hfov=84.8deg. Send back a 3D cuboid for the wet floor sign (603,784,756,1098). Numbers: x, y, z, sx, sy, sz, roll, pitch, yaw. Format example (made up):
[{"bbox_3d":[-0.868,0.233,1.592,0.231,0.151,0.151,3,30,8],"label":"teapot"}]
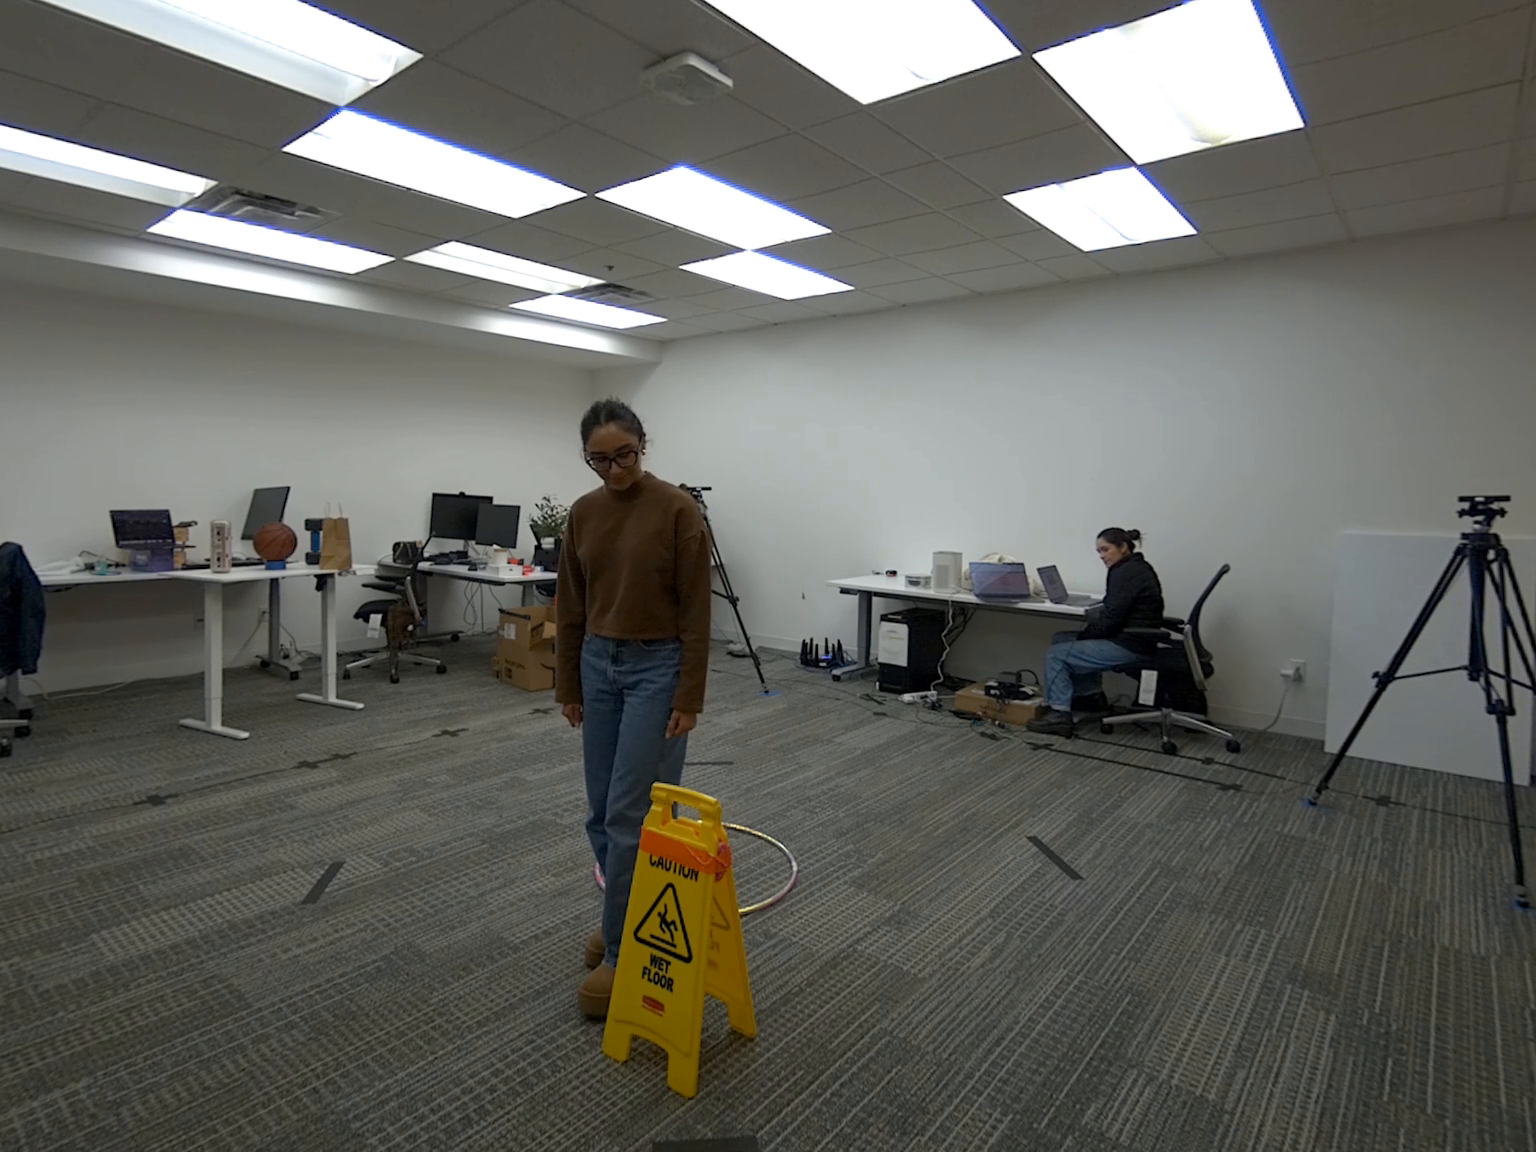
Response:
[{"bbox_3d":[-0.214,0.845,2.101,0.291,0.644,0.282,3,4,33],"label":"wet floor sign"}]
